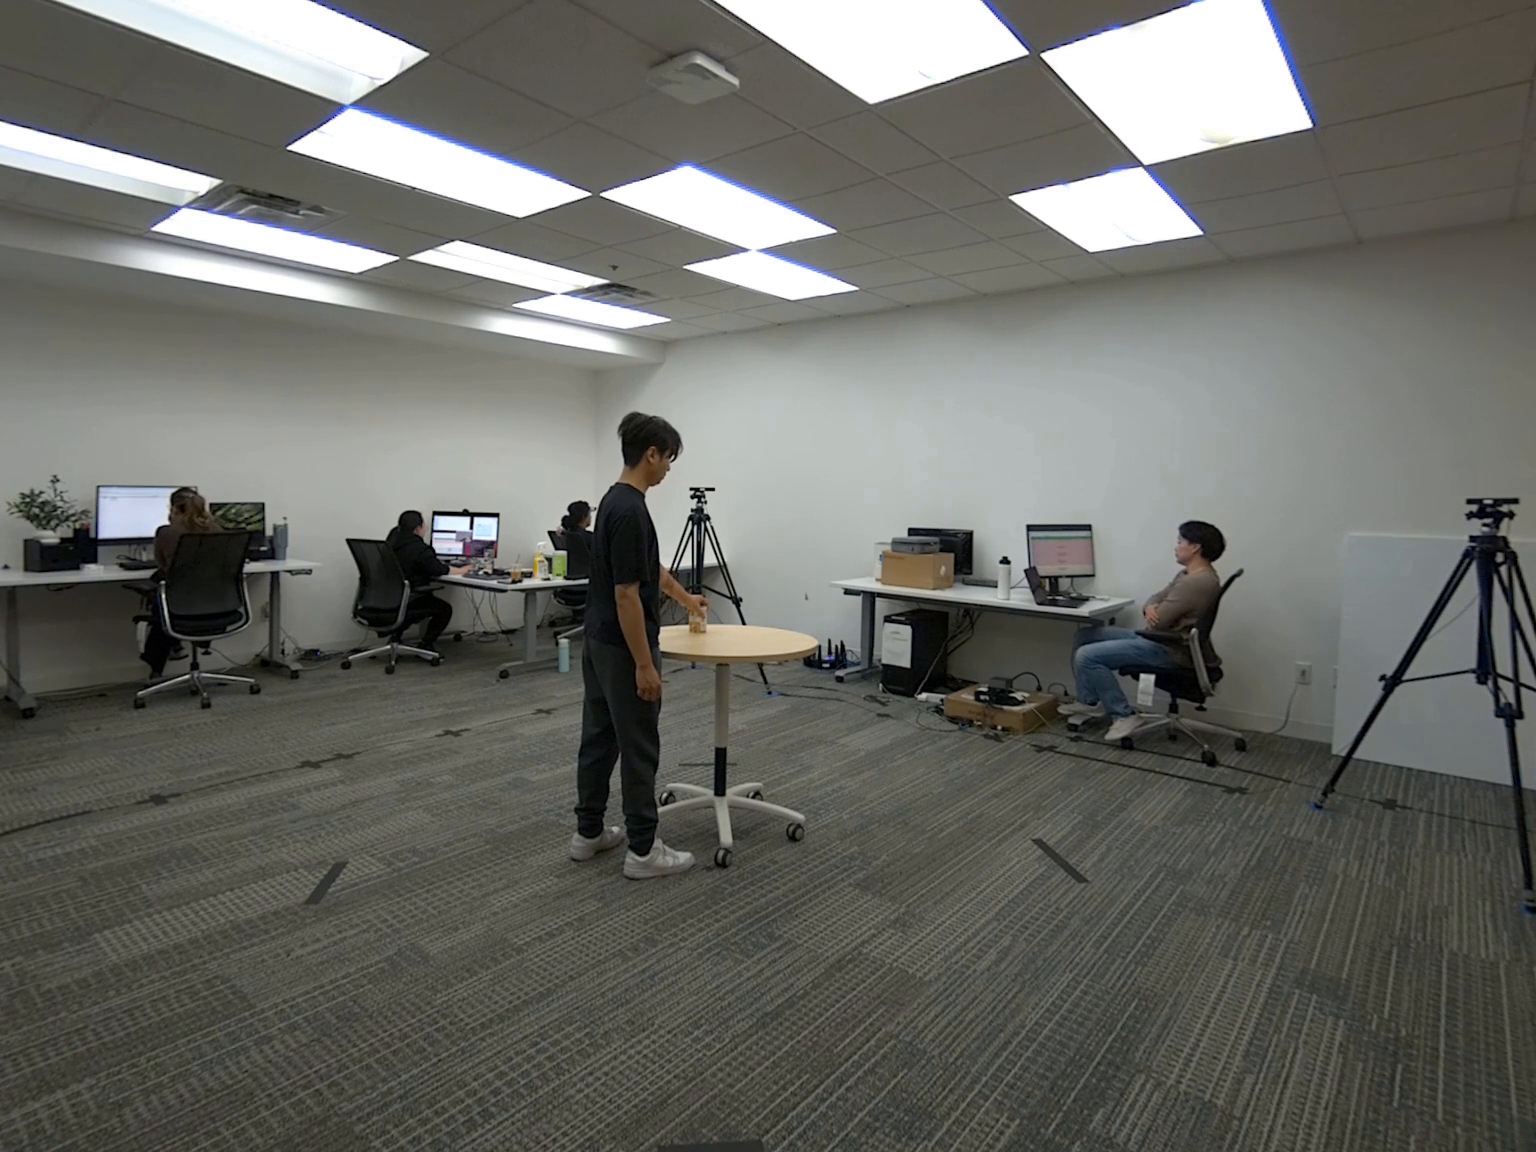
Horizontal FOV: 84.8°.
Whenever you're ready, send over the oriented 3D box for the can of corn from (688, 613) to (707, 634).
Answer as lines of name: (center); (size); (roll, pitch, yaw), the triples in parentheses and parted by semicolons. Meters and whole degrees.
can of corn: (-0.307, 0.174, 3.613); (0.074, 0.110, 0.074); (-1, 5, -2)
